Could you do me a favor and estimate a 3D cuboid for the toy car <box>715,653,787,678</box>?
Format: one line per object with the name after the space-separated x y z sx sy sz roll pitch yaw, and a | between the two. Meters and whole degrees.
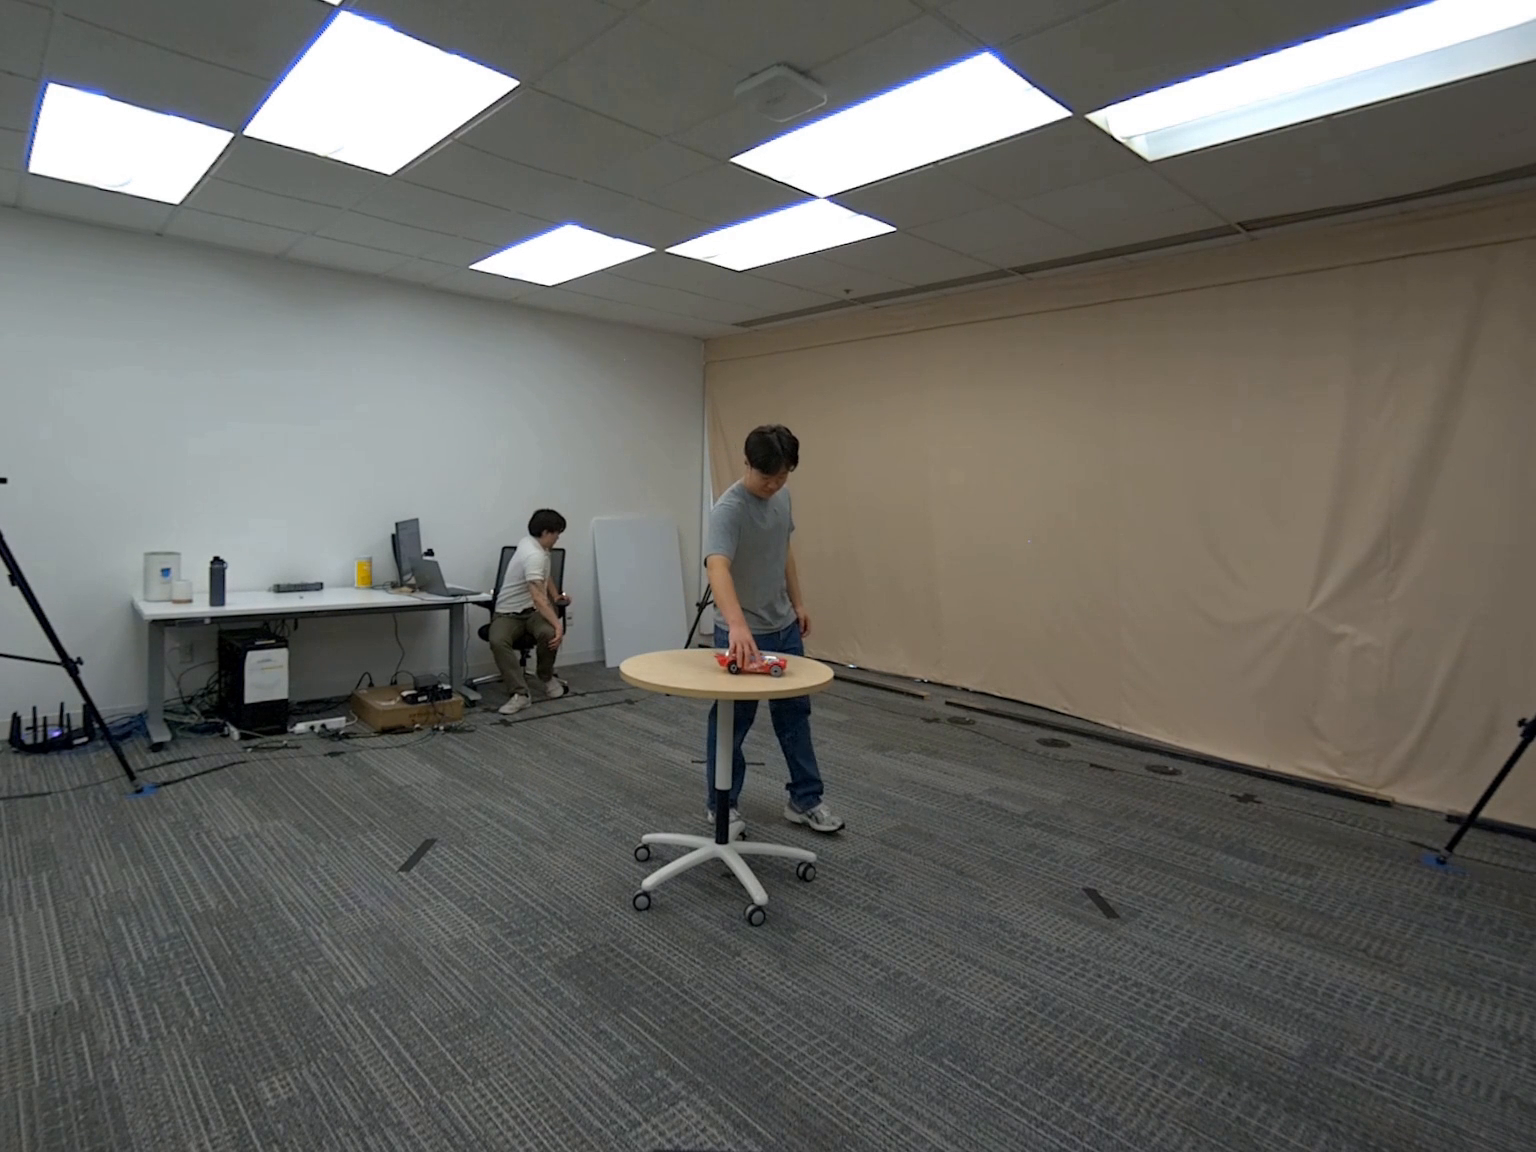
-0.084 0.306 2.950 0.256 0.083 0.130 12 6 4 | toy car
